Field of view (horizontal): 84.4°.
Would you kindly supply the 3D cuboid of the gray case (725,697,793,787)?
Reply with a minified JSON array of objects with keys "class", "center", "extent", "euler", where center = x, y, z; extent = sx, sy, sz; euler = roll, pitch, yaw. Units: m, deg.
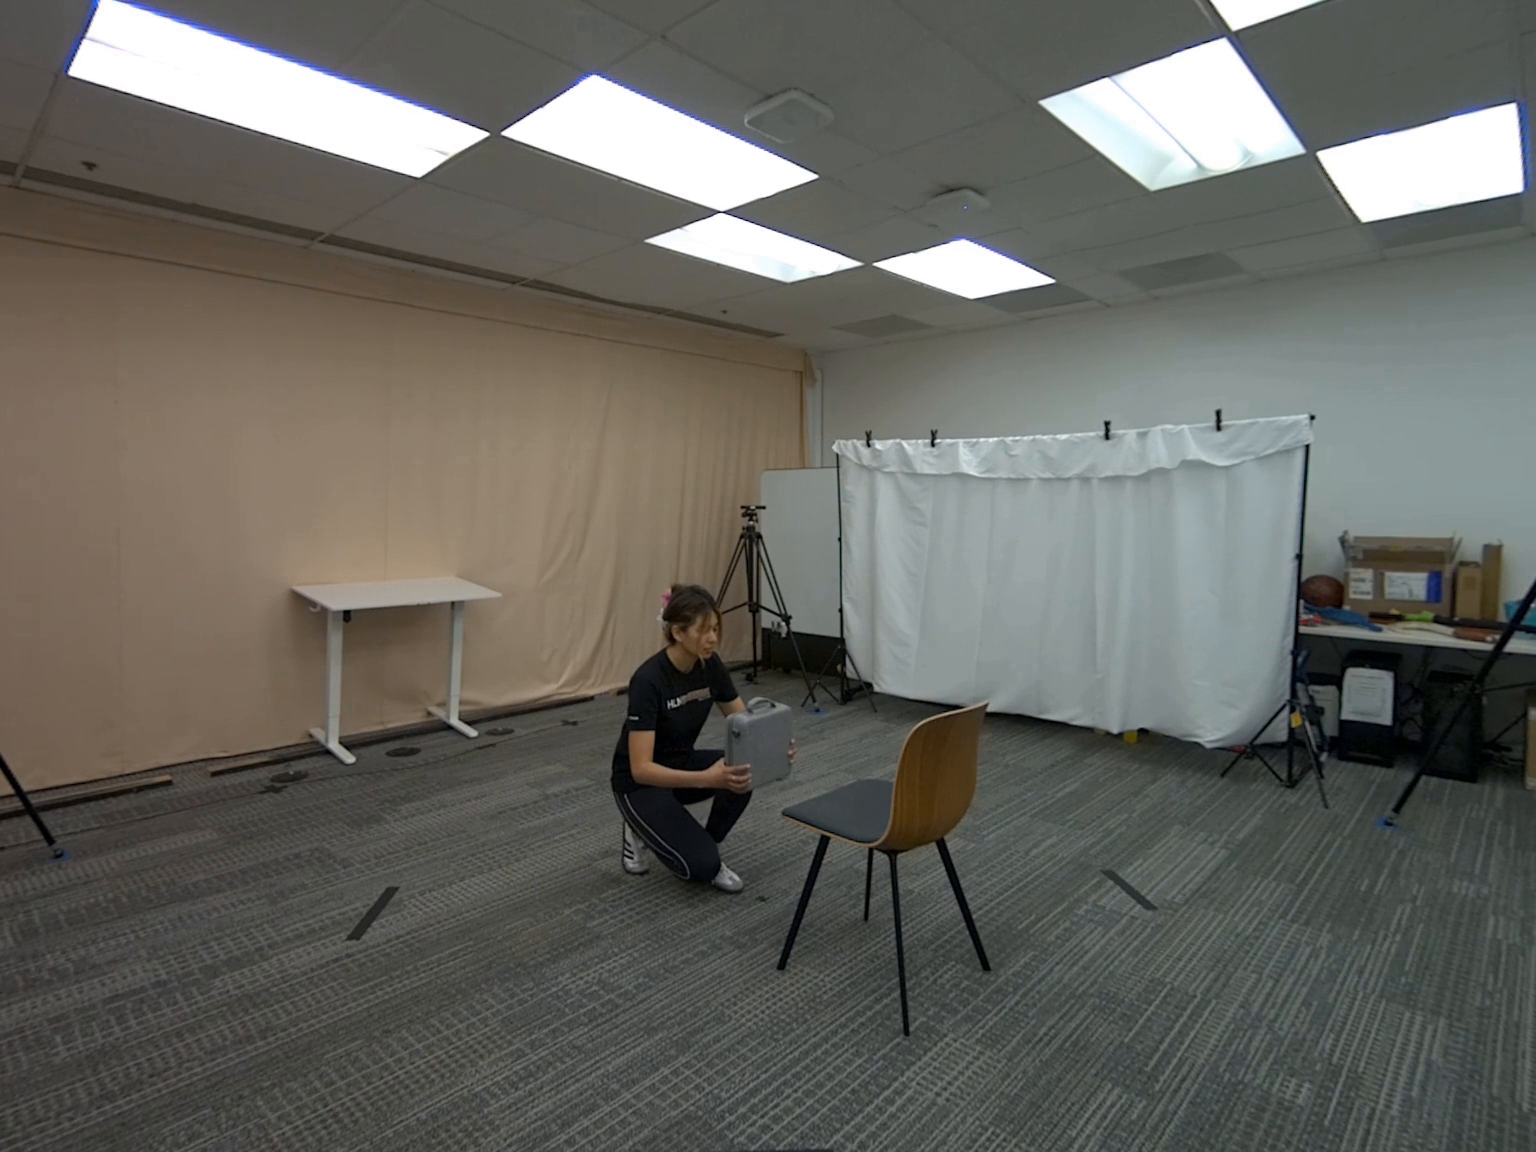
[{"class":"gray case","center":[-0.031,0.562,2.855],"extent":[0.108,0.259,0.249],"euler":[7,11,42]}]
